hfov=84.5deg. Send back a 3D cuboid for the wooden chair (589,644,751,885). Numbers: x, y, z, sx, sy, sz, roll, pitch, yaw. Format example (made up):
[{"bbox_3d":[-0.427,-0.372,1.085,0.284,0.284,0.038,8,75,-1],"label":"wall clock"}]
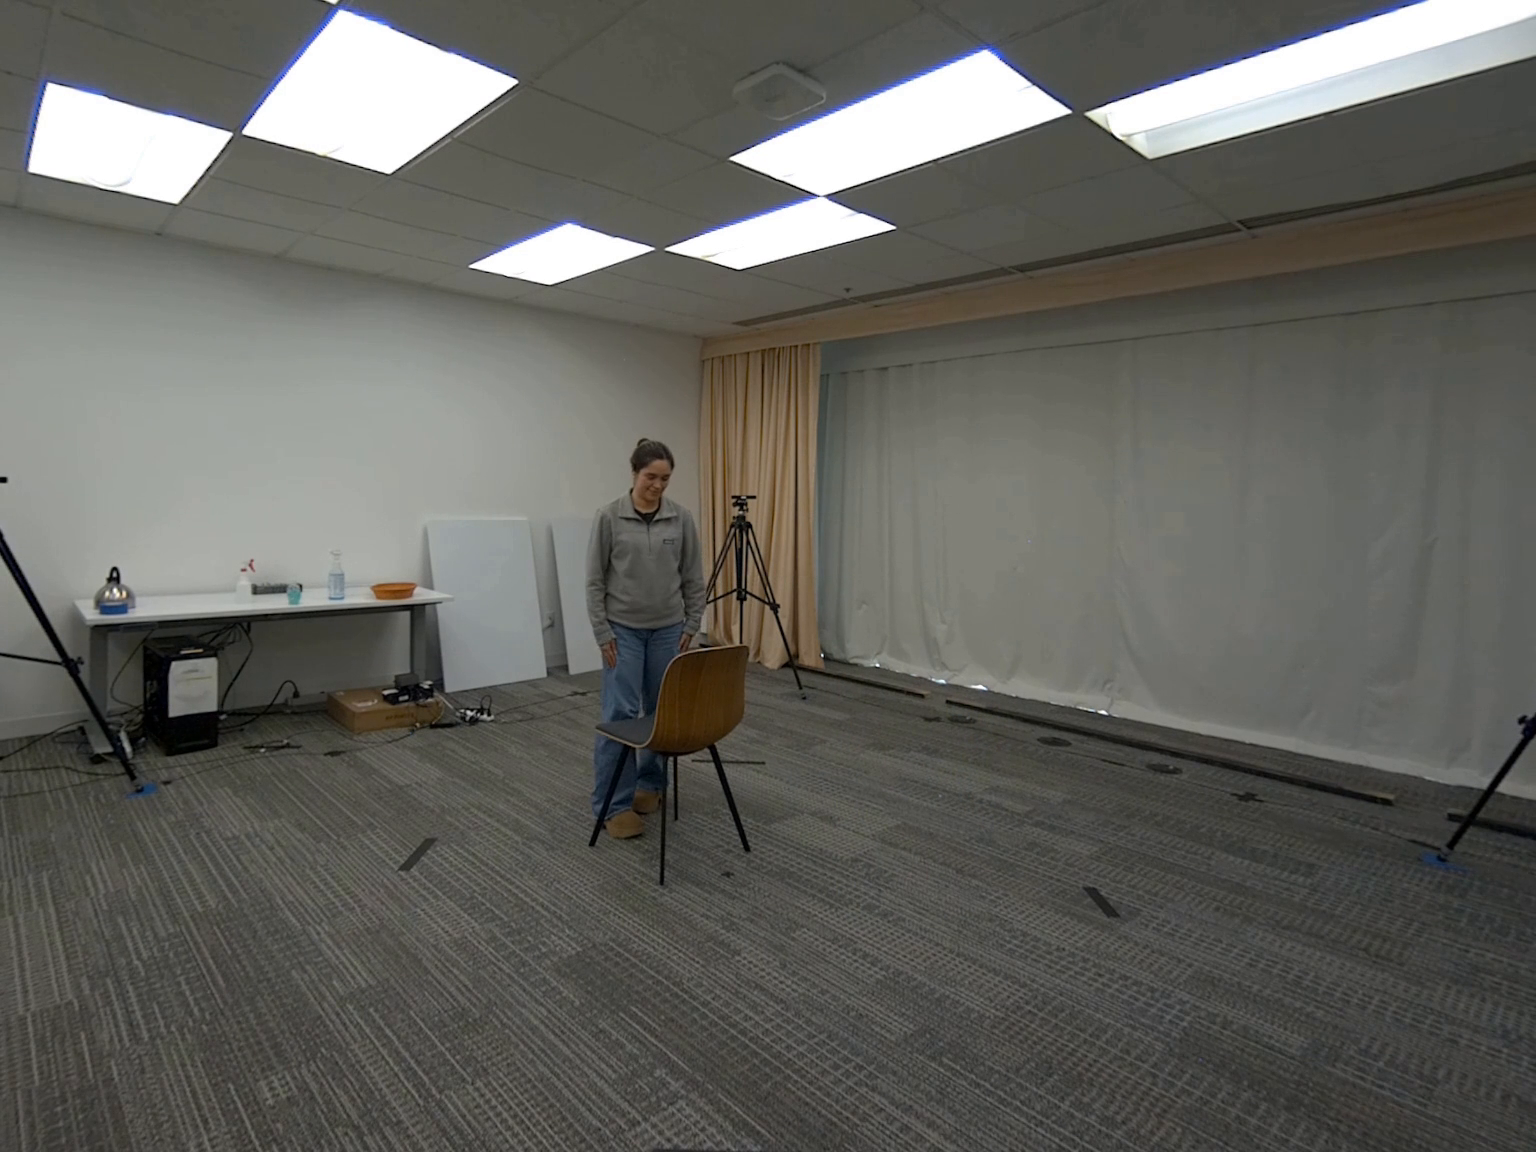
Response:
[{"bbox_3d":[-0.383,0.653,3.286,0.467,0.873,0.537,-2,9,-45],"label":"wooden chair"}]
